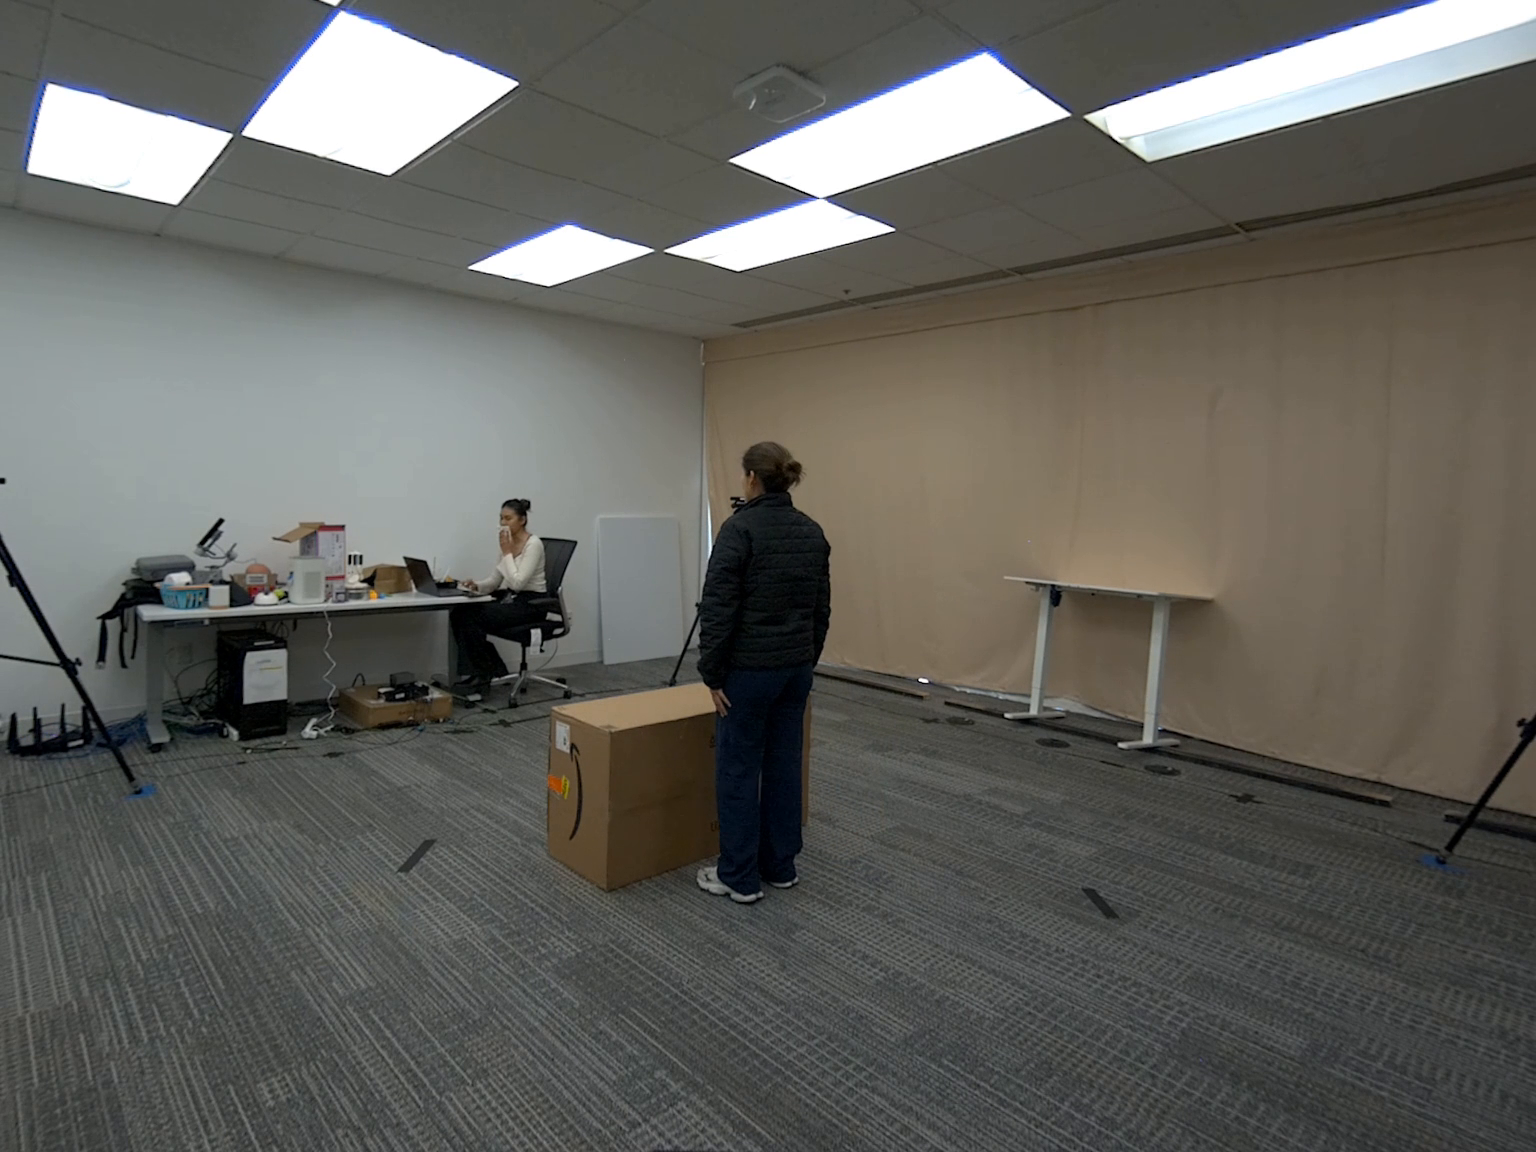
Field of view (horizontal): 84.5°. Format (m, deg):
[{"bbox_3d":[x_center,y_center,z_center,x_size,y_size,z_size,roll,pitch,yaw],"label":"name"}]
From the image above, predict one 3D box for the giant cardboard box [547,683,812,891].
[{"bbox_3d":[-0.345,0.788,3.420,1.003,0.582,0.458,-2,7,-42],"label":"giant cardboard box"}]
